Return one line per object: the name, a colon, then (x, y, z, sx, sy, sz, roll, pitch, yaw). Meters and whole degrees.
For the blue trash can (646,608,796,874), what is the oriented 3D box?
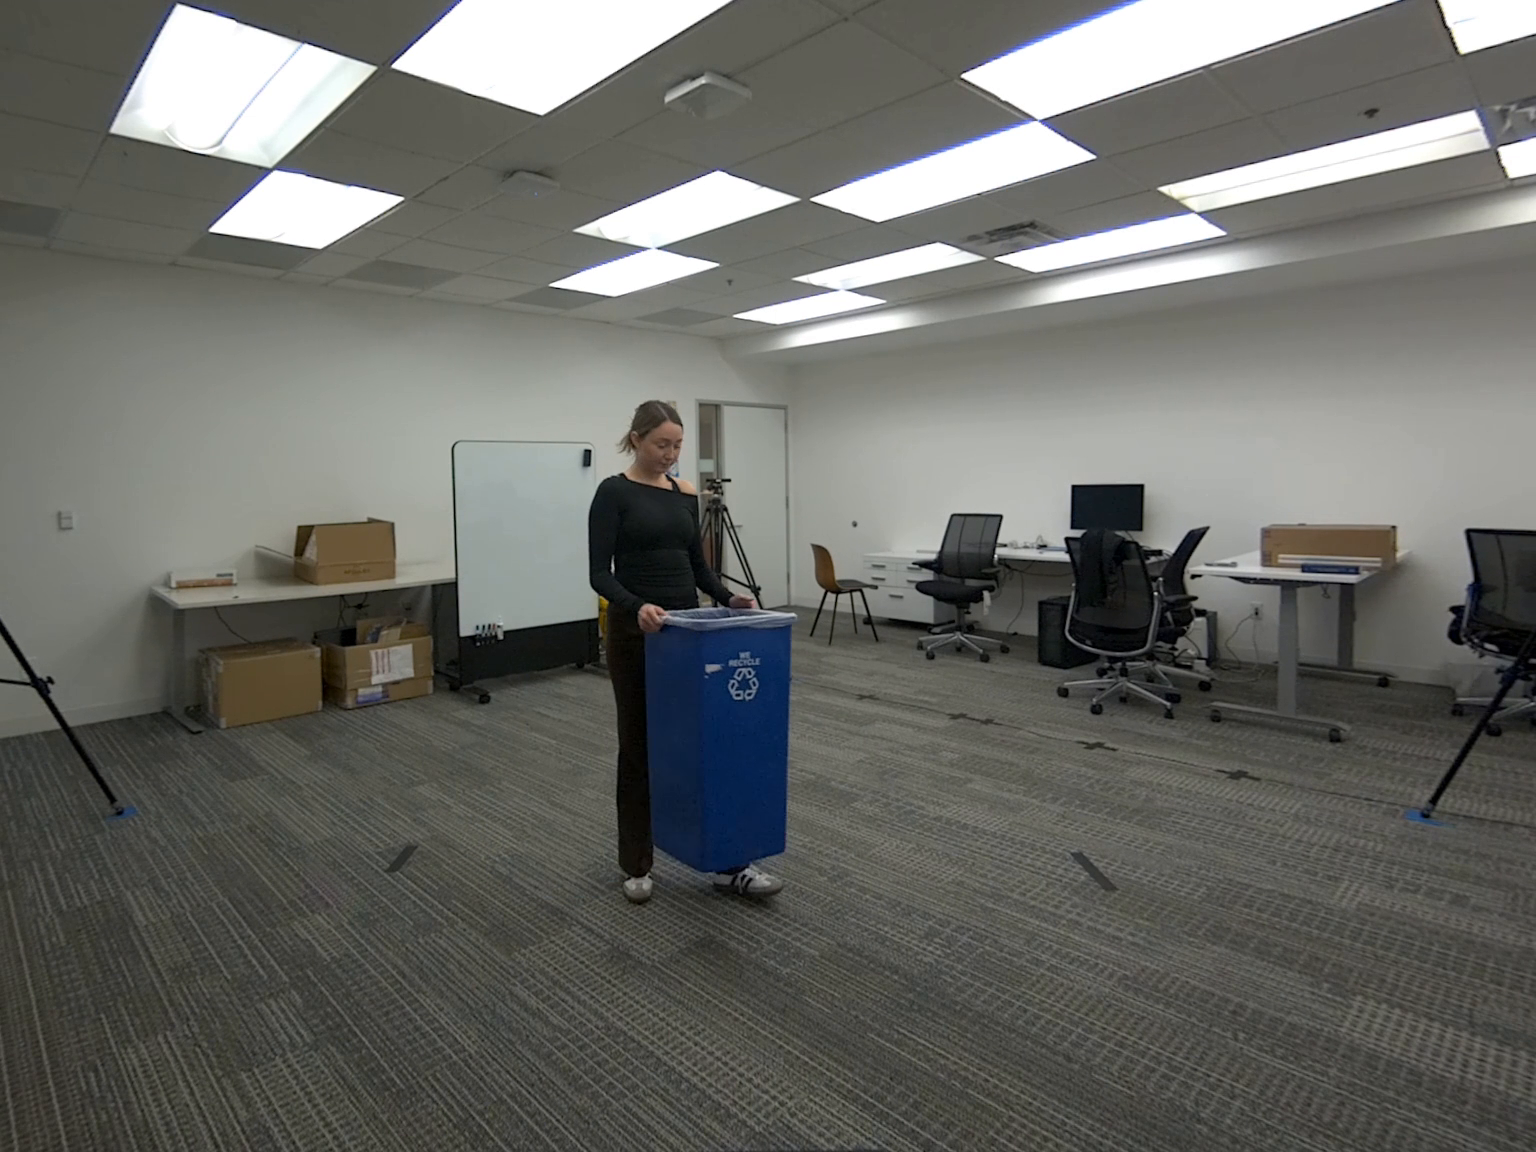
blue trash can: (-0.146, 0.474, 2.603, 0.364, 0.713, 0.388, -1, 1, -36)
